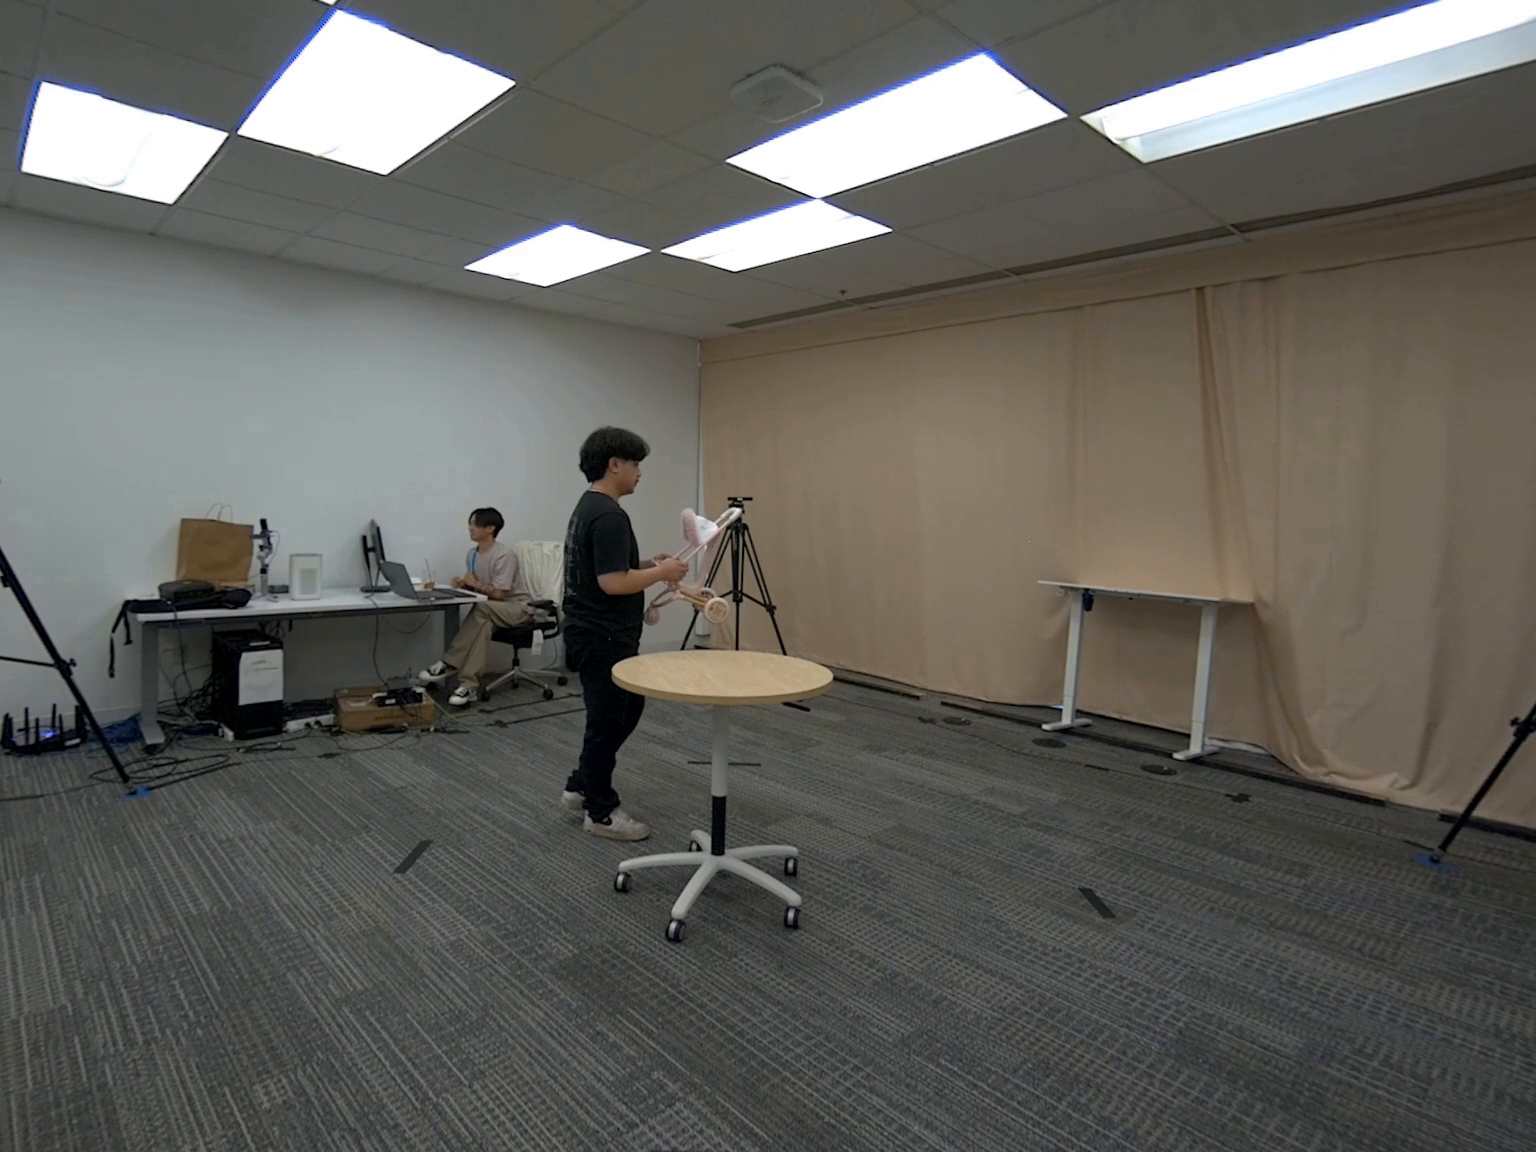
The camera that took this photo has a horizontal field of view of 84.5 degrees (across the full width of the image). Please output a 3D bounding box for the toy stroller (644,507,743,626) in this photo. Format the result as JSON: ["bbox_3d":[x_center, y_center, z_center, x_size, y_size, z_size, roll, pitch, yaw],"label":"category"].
[{"bbox_3d":[-0.334,-0.039,3.533,0.338,0.533,0.285,7,6,-10],"label":"toy stroller"}]
